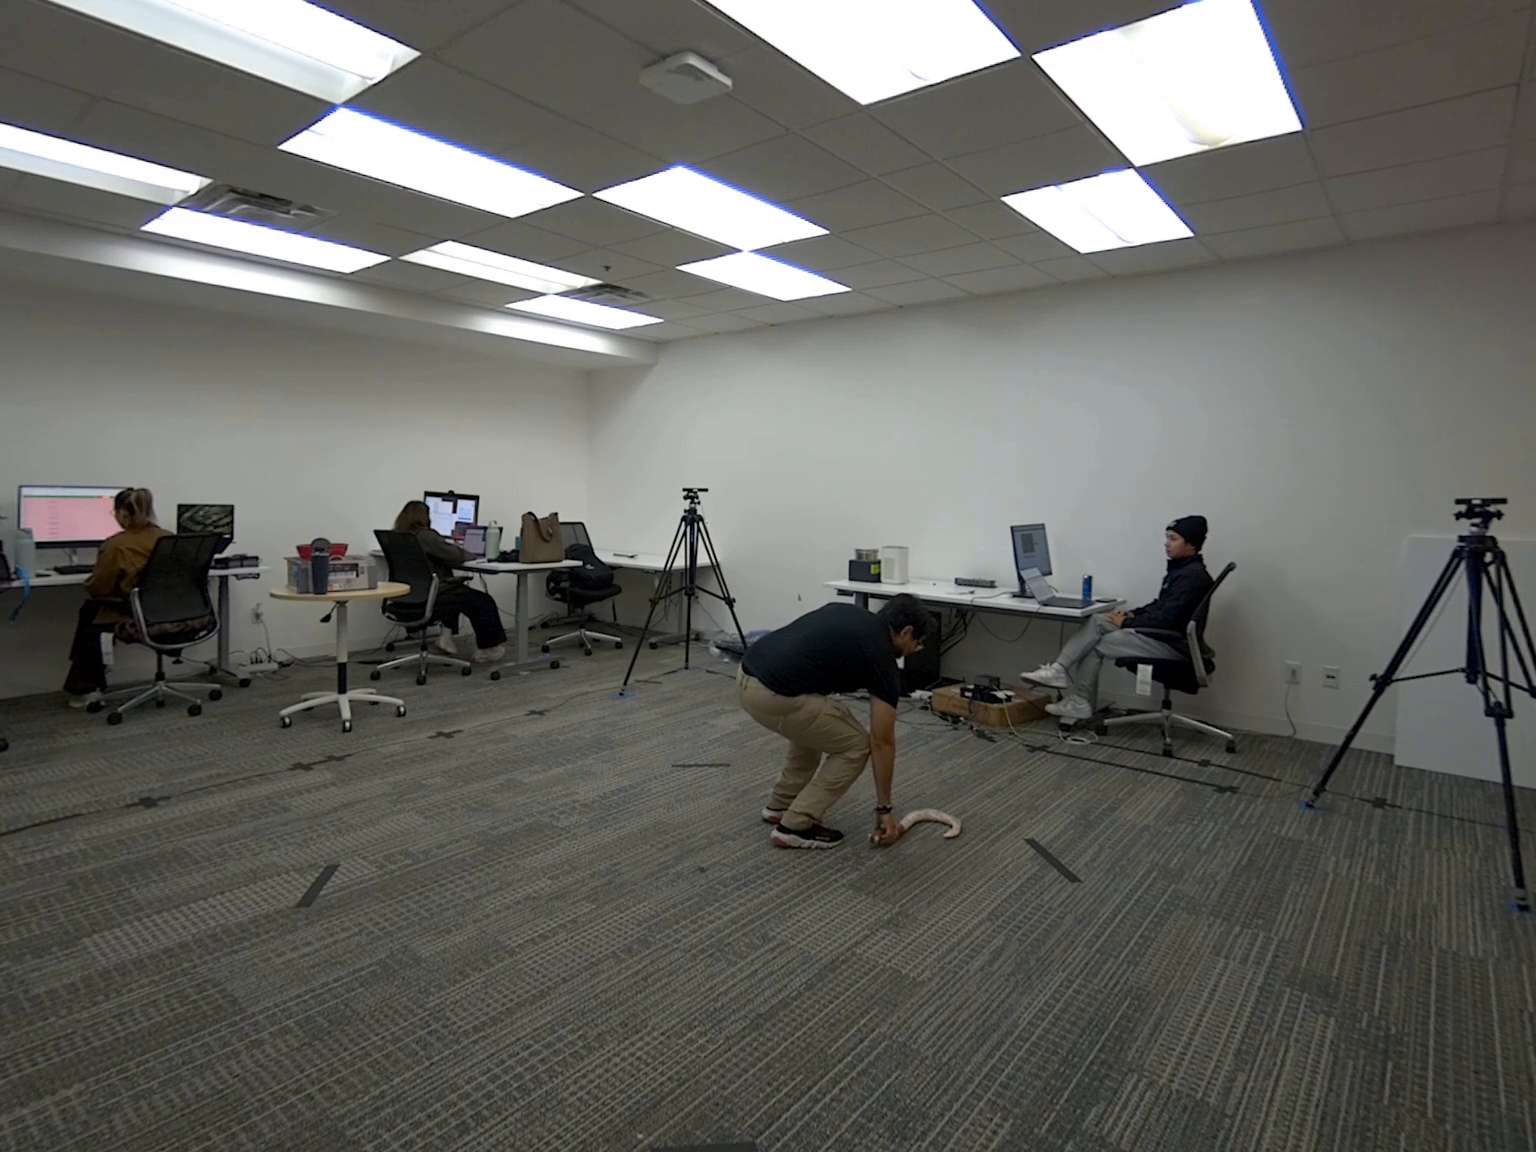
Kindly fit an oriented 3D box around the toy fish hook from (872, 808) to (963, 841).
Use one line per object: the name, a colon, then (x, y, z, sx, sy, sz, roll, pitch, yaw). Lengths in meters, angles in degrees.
toy fish hook: (0.604, 1.025, 3.461, 0.232, 0.048, 0.491, 5, 6, 44)
